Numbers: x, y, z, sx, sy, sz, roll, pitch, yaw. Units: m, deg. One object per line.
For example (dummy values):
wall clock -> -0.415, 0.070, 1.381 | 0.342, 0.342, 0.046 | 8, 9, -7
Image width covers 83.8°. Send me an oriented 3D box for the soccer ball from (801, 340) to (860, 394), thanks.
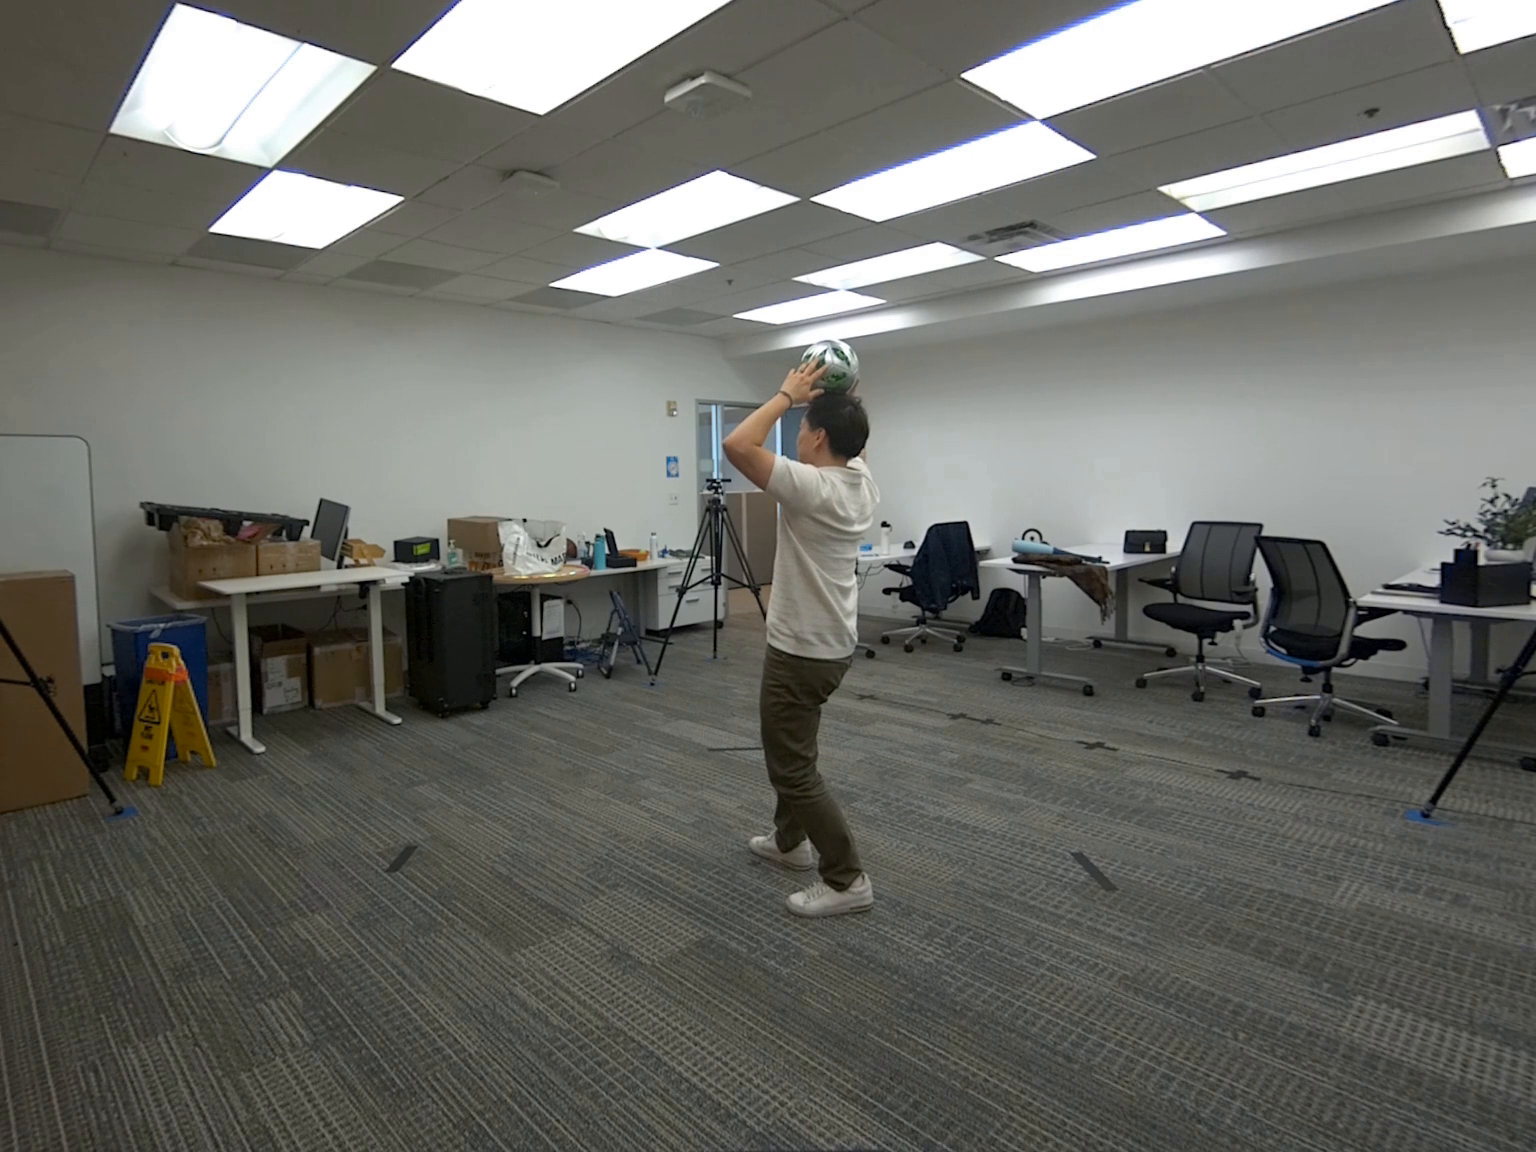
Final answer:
soccer ball -> 0.195, -0.659, 2.725 | 0.187, 0.187, 0.188 | -1, 5, -2
